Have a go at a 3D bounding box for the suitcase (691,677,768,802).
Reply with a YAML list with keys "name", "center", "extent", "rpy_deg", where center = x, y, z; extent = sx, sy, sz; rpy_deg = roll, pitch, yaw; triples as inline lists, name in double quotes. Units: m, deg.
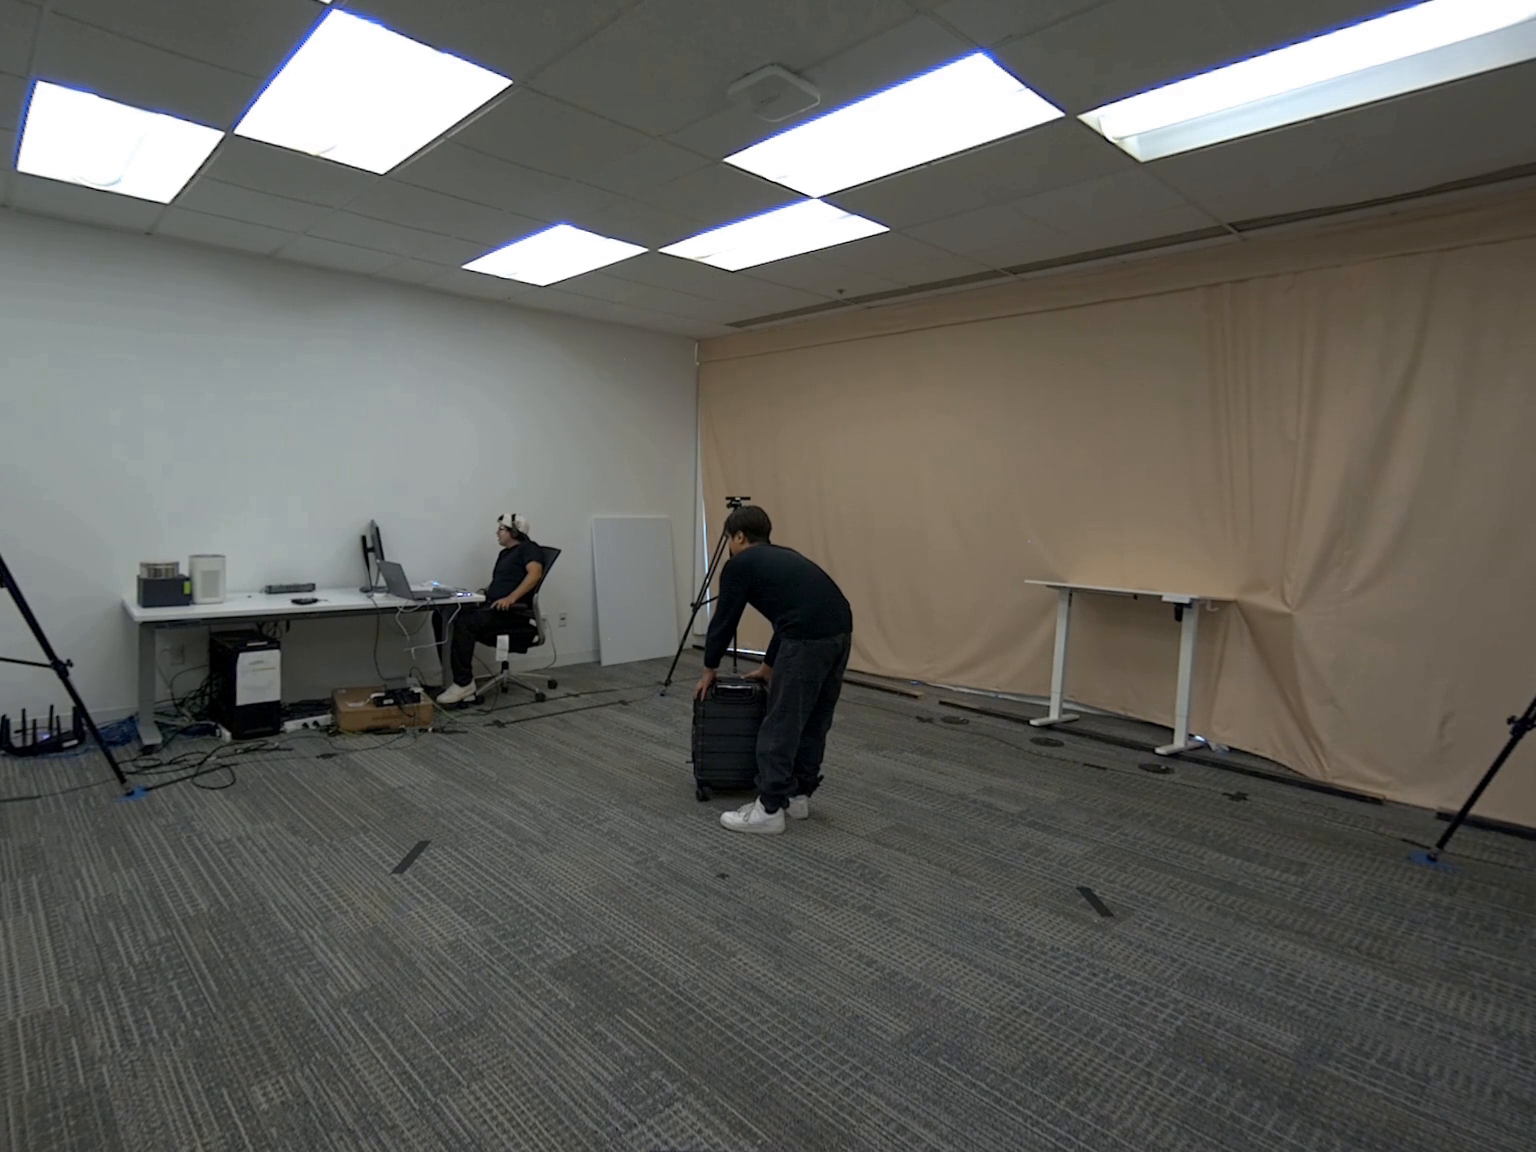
- name: "suitcase"
  center: [-0.186, 0.751, 4.012]
  extent: [0.374, 0.548, 0.249]
  rpy_deg: [1, 3, -3]
